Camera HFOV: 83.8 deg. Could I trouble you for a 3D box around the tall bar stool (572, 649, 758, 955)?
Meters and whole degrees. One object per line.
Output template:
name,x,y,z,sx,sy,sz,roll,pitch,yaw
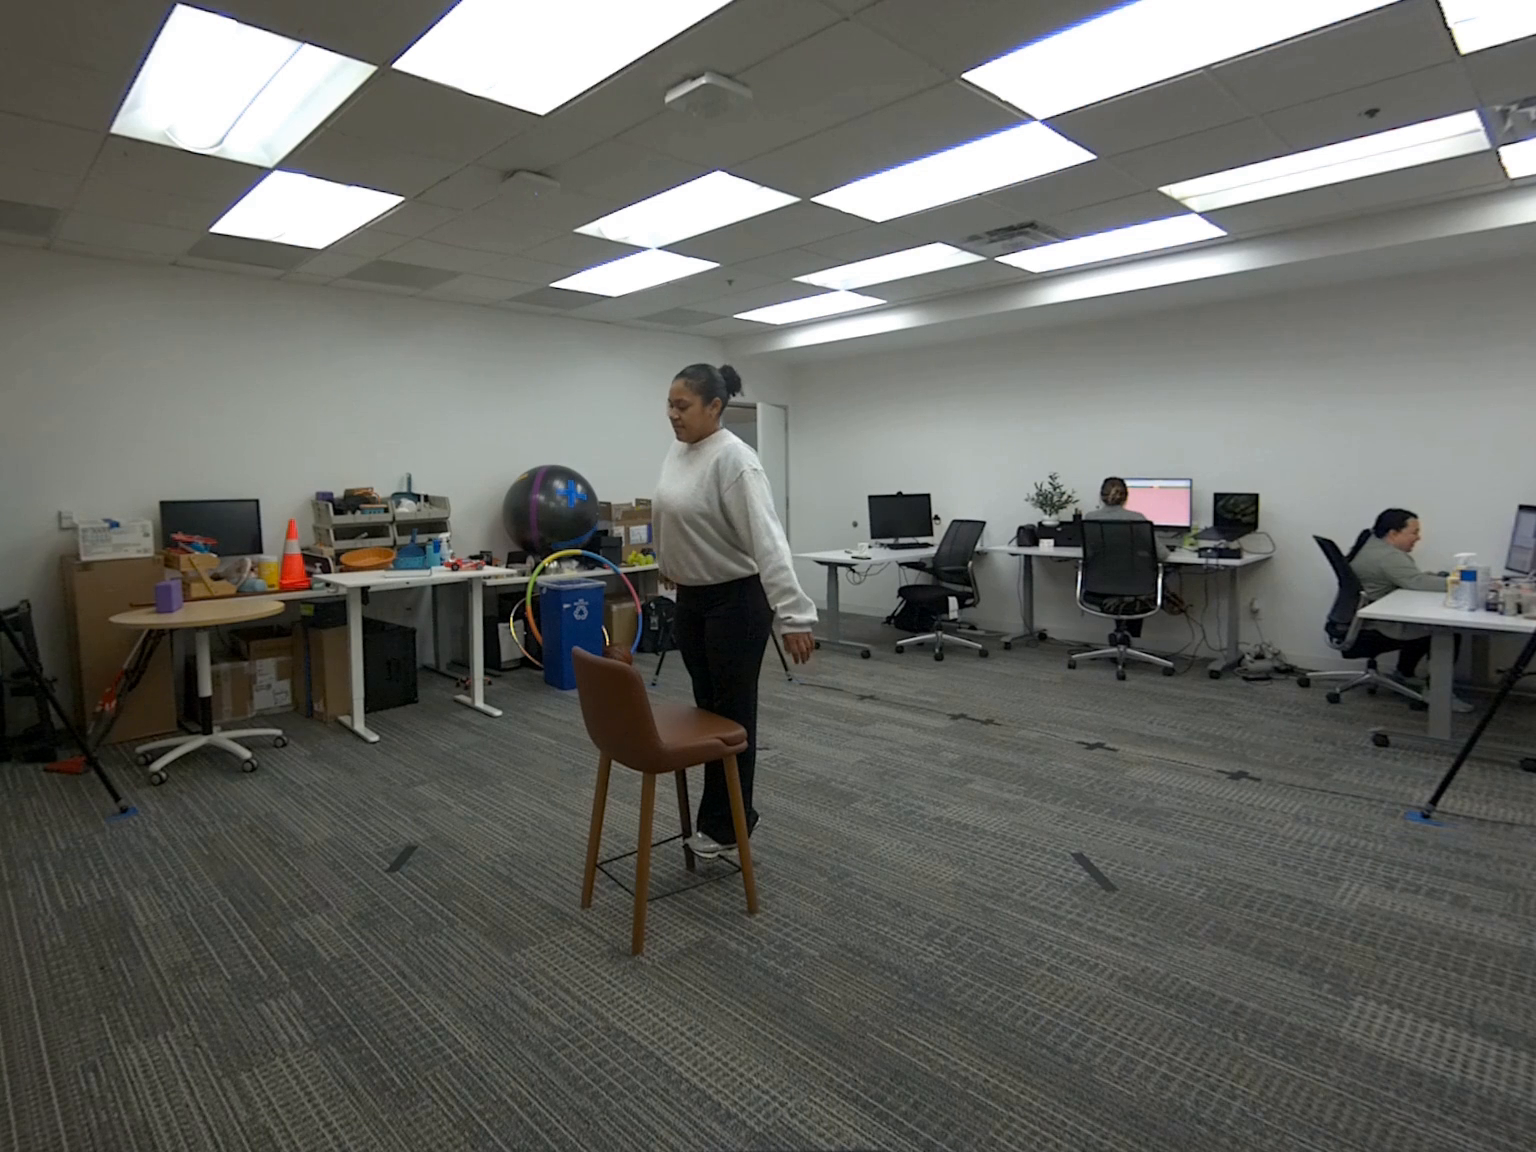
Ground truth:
tall bar stool,-0.338,0.652,2.758,0.456,0.885,0.470,-5,7,-36
